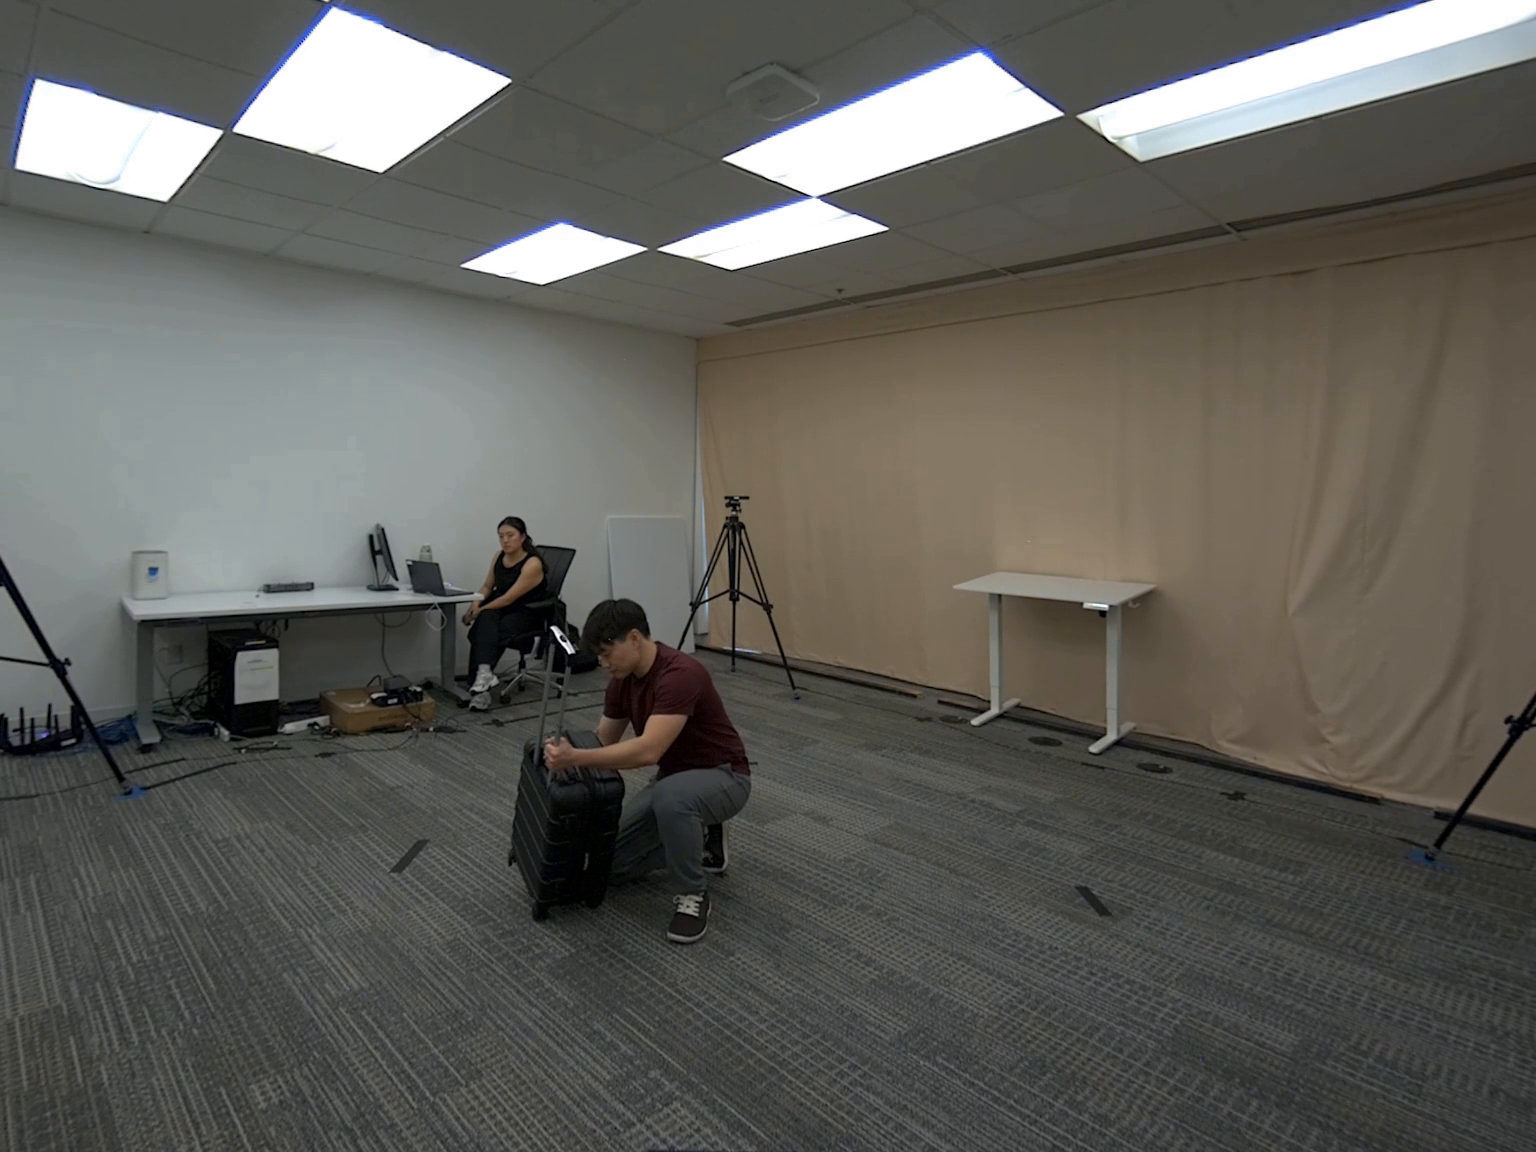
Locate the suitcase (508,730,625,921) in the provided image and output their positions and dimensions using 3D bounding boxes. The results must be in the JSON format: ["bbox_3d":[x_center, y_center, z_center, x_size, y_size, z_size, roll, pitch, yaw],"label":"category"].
[{"bbox_3d":[-0.635,0.630,2.725,0.251,0.968,0.396,0,26,-32],"label":"suitcase"}]
